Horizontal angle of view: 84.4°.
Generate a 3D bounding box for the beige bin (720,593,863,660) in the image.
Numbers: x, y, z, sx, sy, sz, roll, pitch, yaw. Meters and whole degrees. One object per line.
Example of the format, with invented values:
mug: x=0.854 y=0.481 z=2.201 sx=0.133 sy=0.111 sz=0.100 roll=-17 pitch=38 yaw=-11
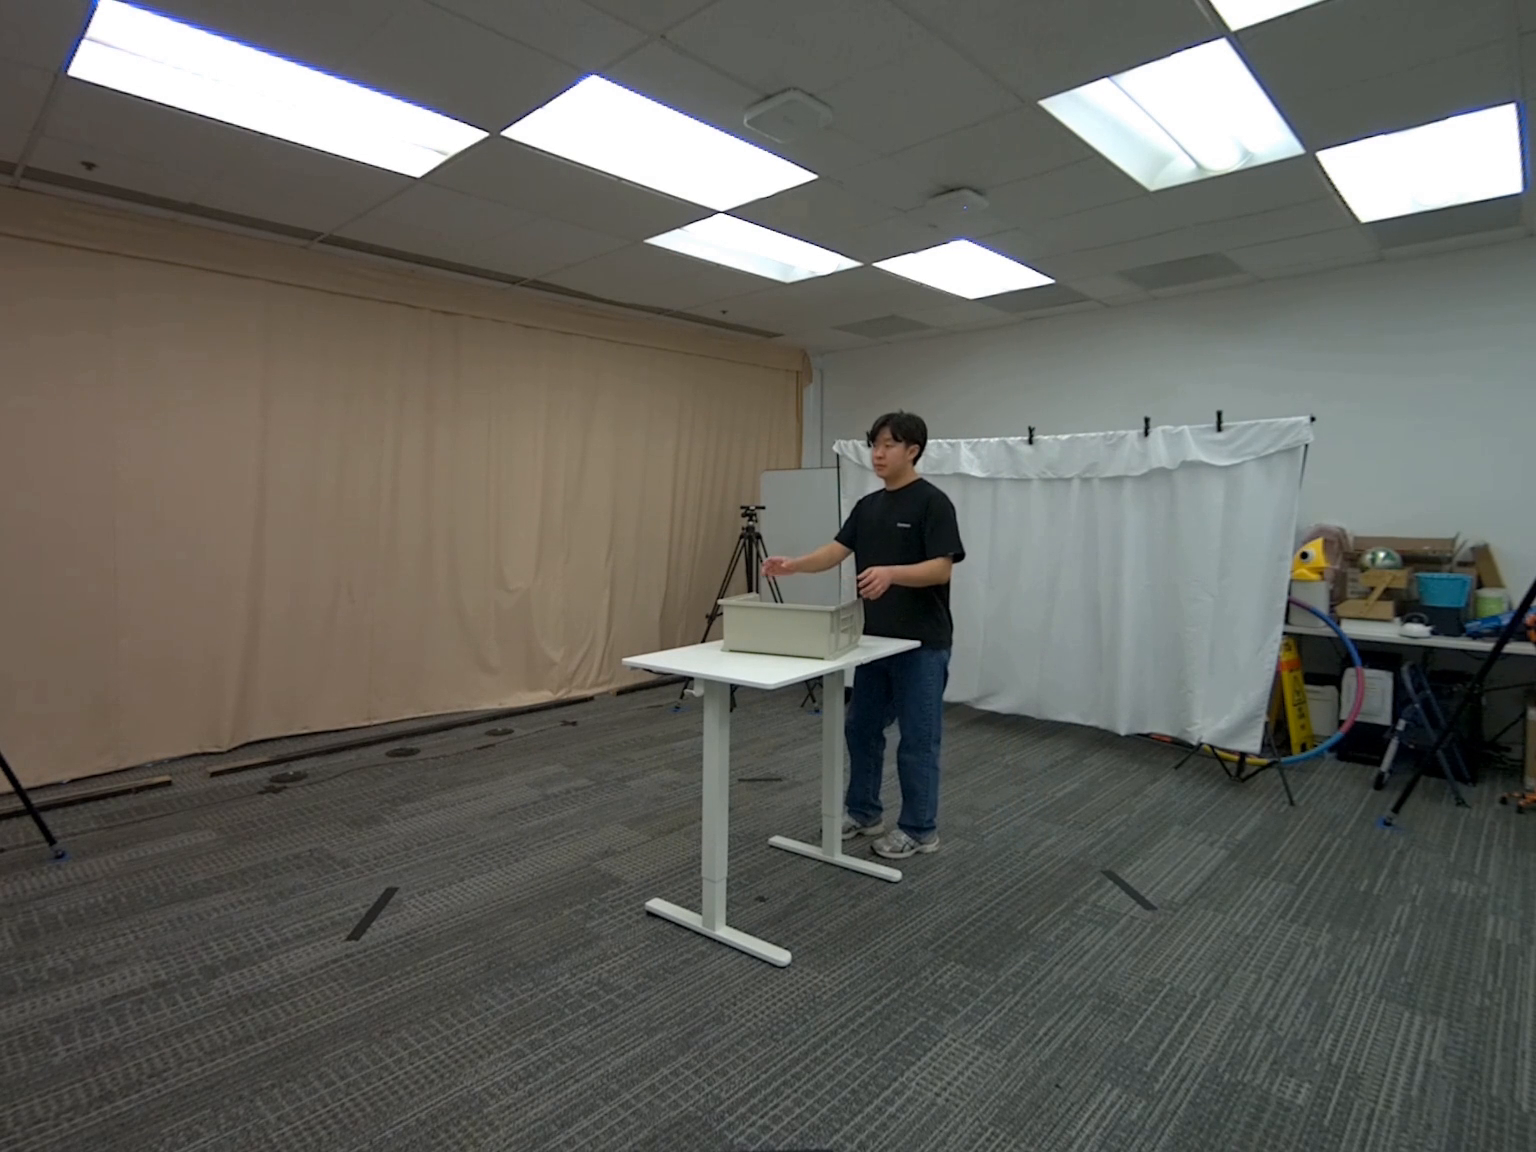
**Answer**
beige bin: x=0.095 y=0.171 z=3.003 sx=0.433 sy=0.188 sz=0.369 roll=3 pitch=6 yaw=24
